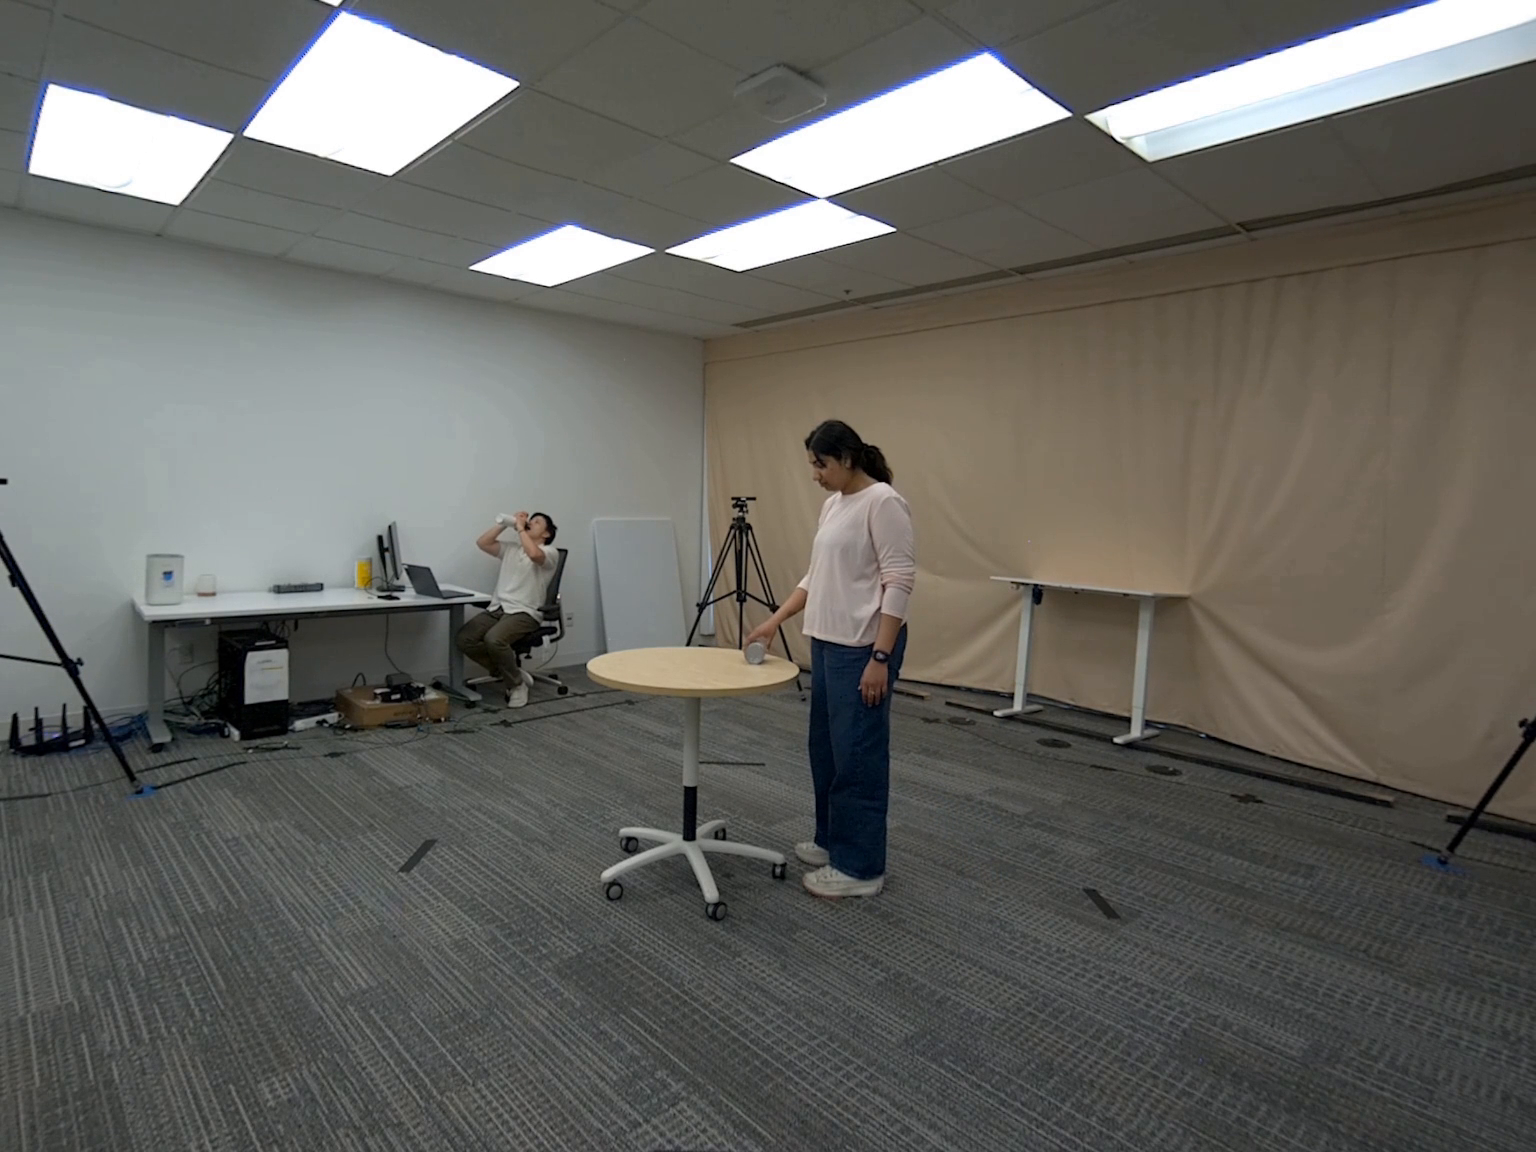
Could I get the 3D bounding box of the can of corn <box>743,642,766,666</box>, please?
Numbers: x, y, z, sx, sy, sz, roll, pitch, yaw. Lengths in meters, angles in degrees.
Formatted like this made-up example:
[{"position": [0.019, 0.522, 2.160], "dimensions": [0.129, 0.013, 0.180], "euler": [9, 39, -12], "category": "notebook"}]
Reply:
[{"position": [-0.049, 0.287, 3.151], "dimensions": [0.074, 0.074, 0.111], "euler": [2, 3, 4], "category": "can of corn"}]
